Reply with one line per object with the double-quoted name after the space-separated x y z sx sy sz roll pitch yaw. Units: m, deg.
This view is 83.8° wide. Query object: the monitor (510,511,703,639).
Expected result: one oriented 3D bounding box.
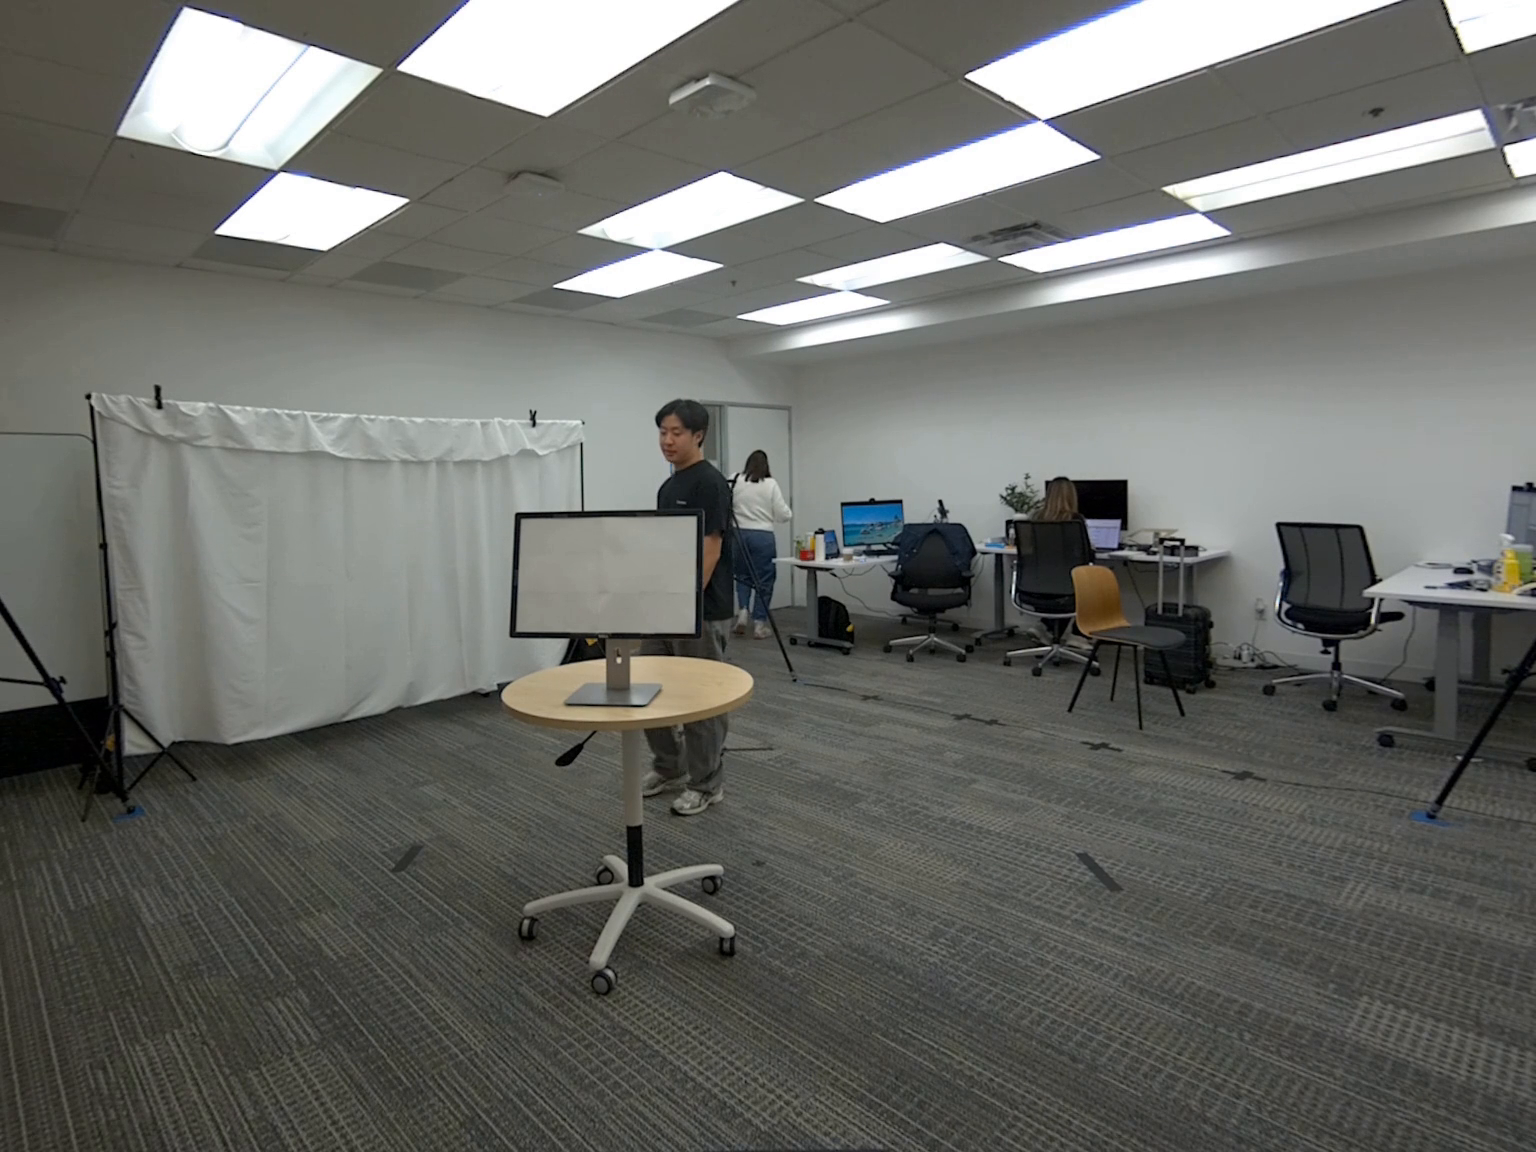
-0.450 0.096 2.456 0.568 0.562 0.221 0 7 11 "monitor"
